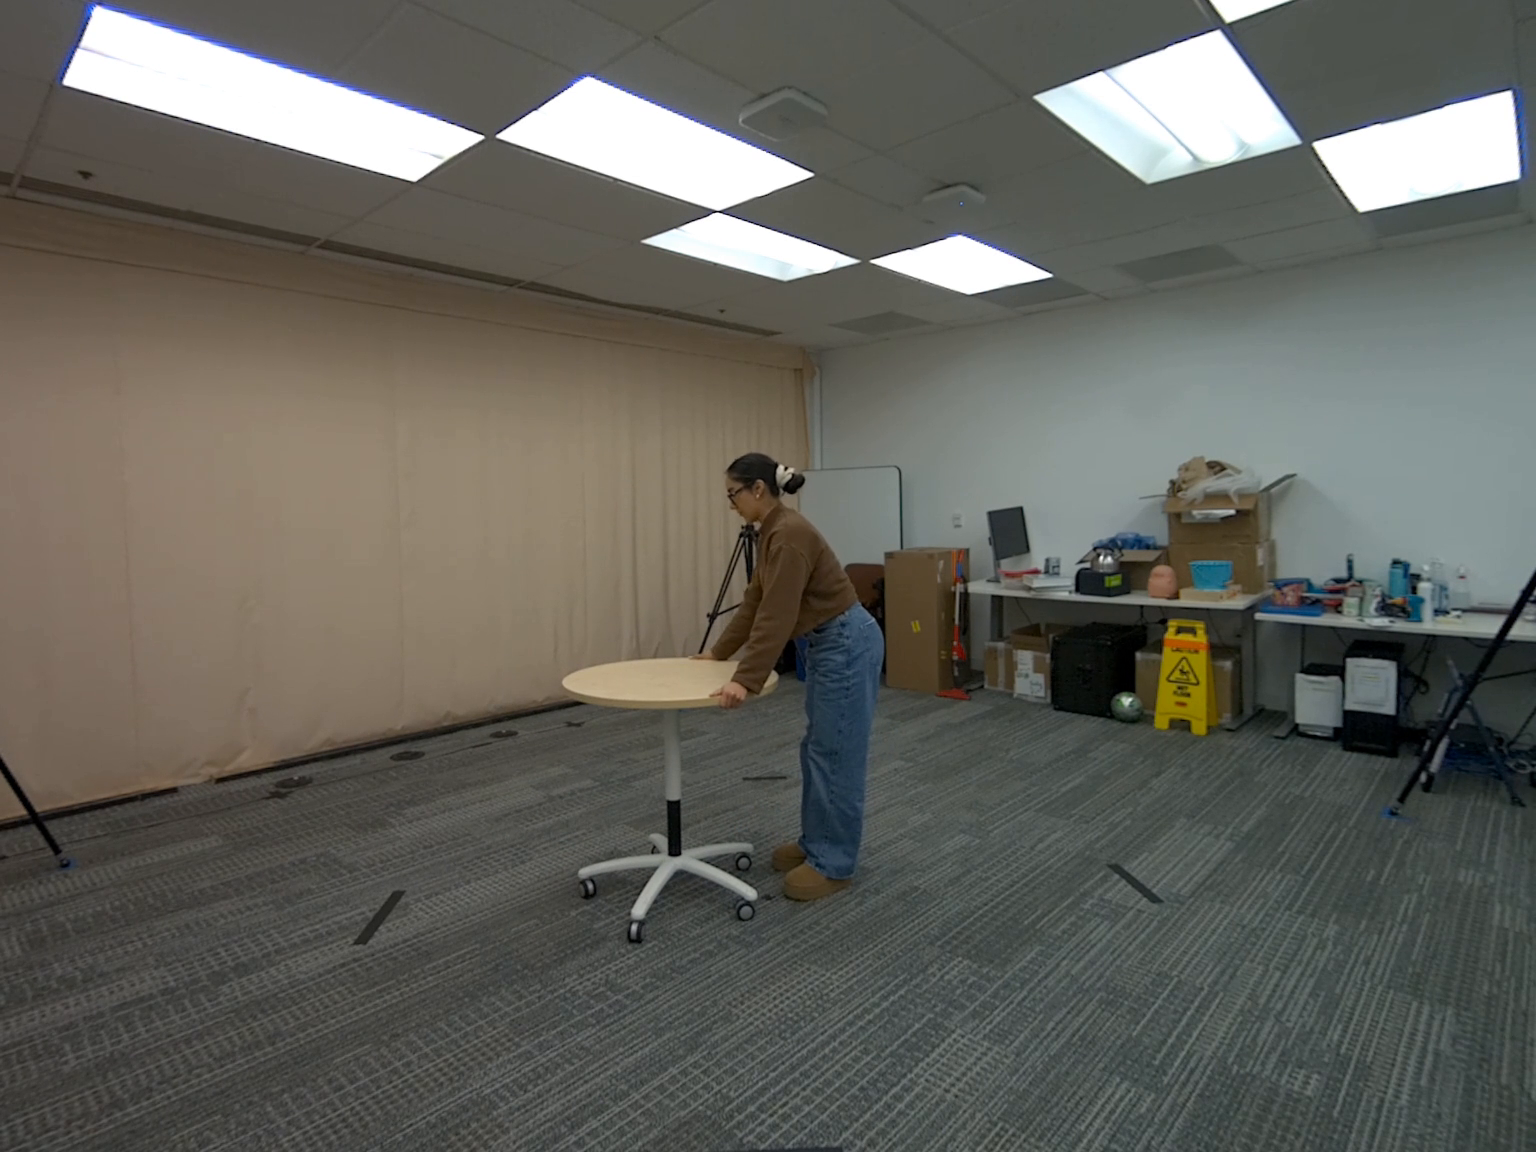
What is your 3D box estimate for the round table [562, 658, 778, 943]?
[{"bbox_3d":[-0.343,0.755,3.025,0.763,0.792,0.766,-1,3,-2],"label":"round table"}]
